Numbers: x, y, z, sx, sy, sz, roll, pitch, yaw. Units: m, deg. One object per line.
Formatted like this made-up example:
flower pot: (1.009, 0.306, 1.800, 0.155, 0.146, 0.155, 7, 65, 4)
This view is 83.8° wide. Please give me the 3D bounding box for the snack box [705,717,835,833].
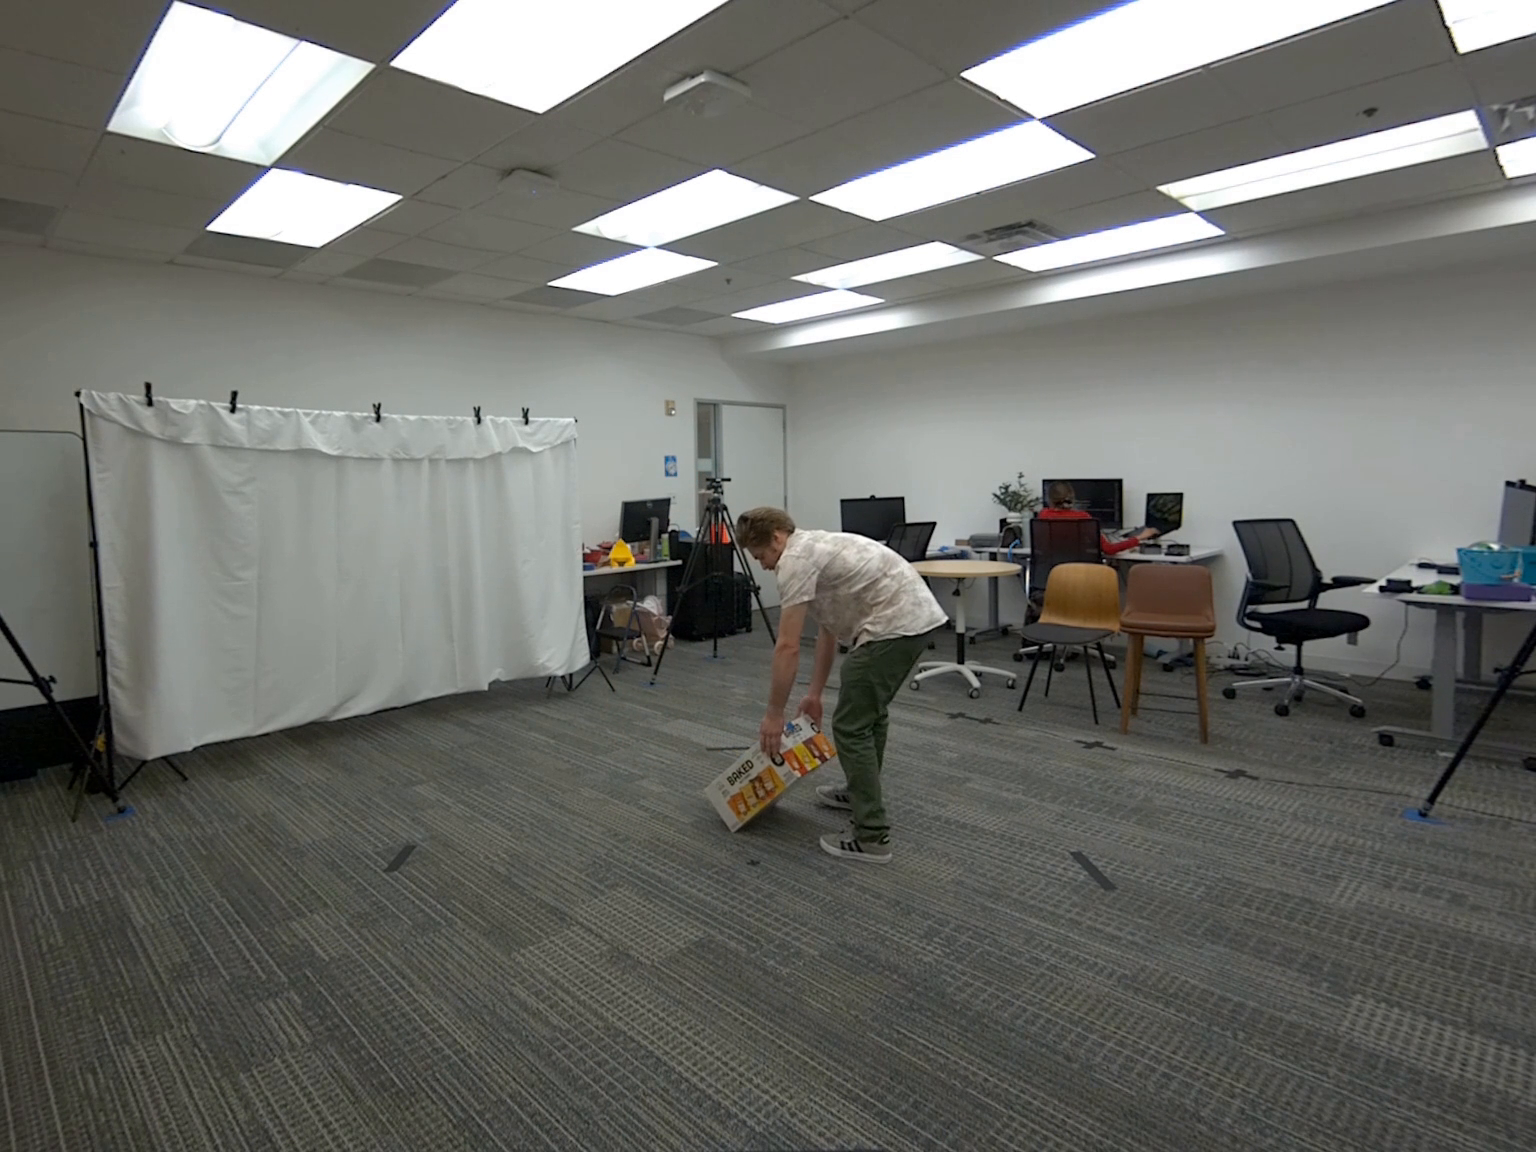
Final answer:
snack box: (0.014, 0.794, 3.454, 0.405, 0.210, 0.332, -47, -19, 26)
